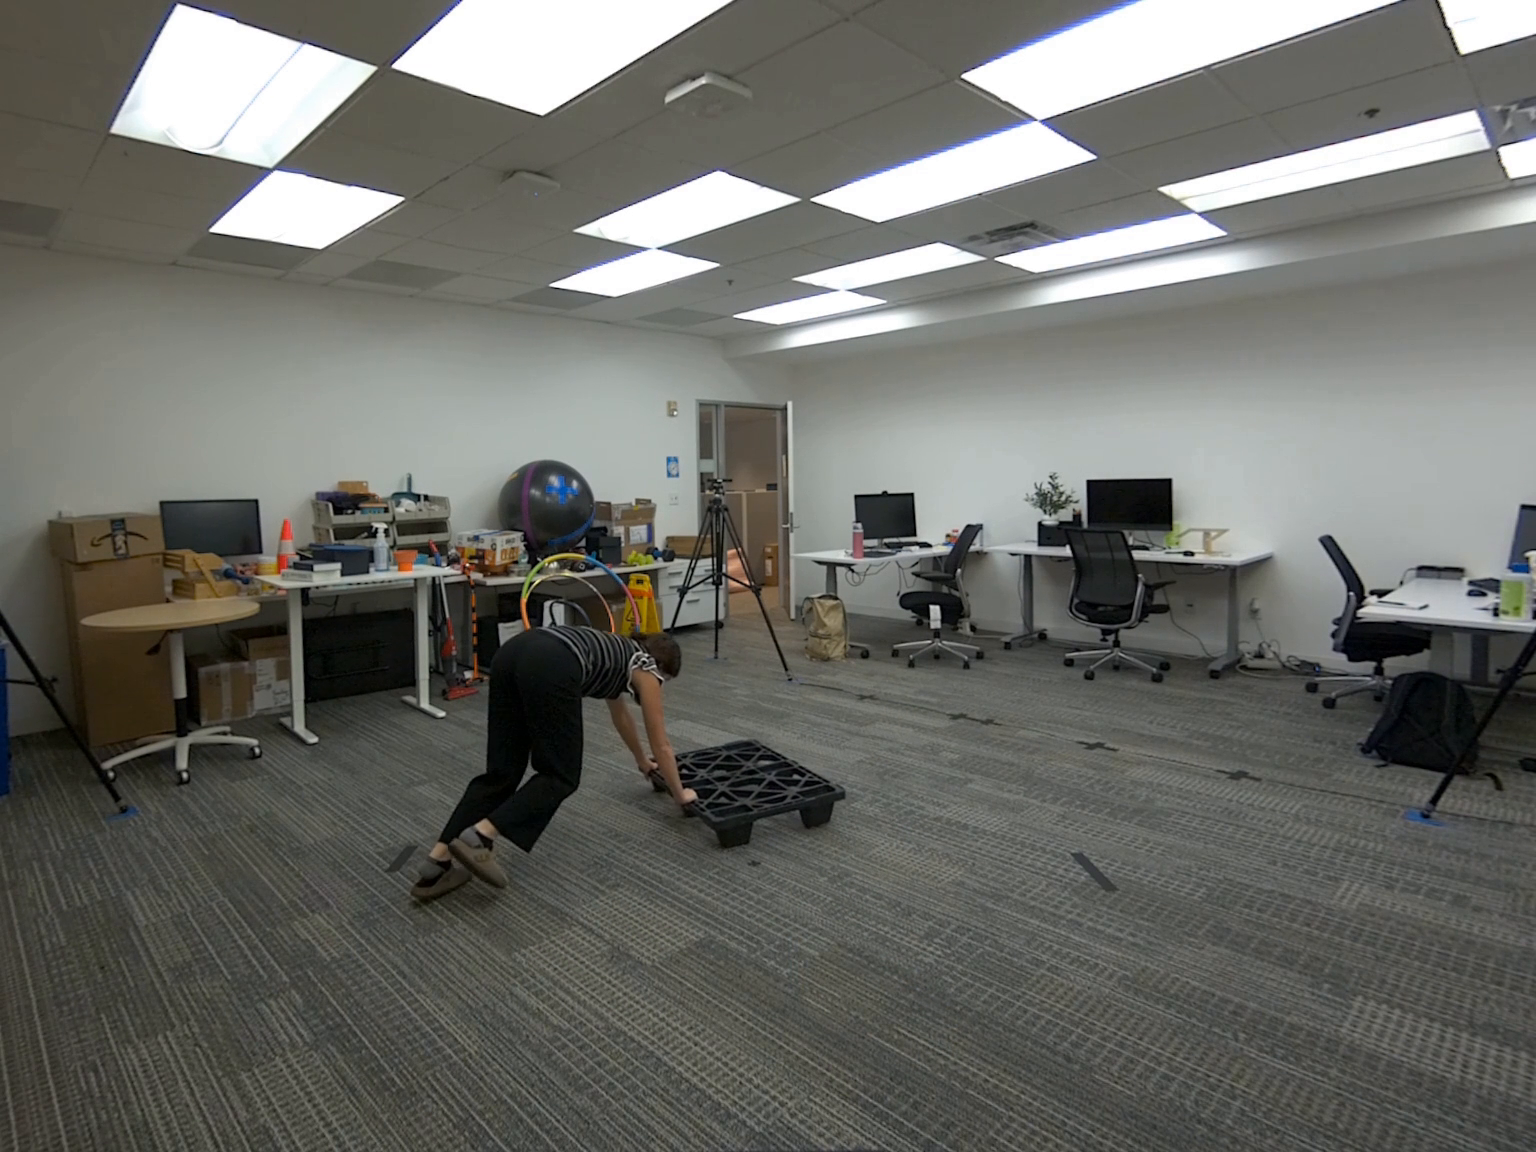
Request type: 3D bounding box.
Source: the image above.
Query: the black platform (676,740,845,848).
[{"bbox_3d":[-0.135,0.914,3.661,0.592,0.142,0.827,-5,7,-28],"label":"black platform"}]
